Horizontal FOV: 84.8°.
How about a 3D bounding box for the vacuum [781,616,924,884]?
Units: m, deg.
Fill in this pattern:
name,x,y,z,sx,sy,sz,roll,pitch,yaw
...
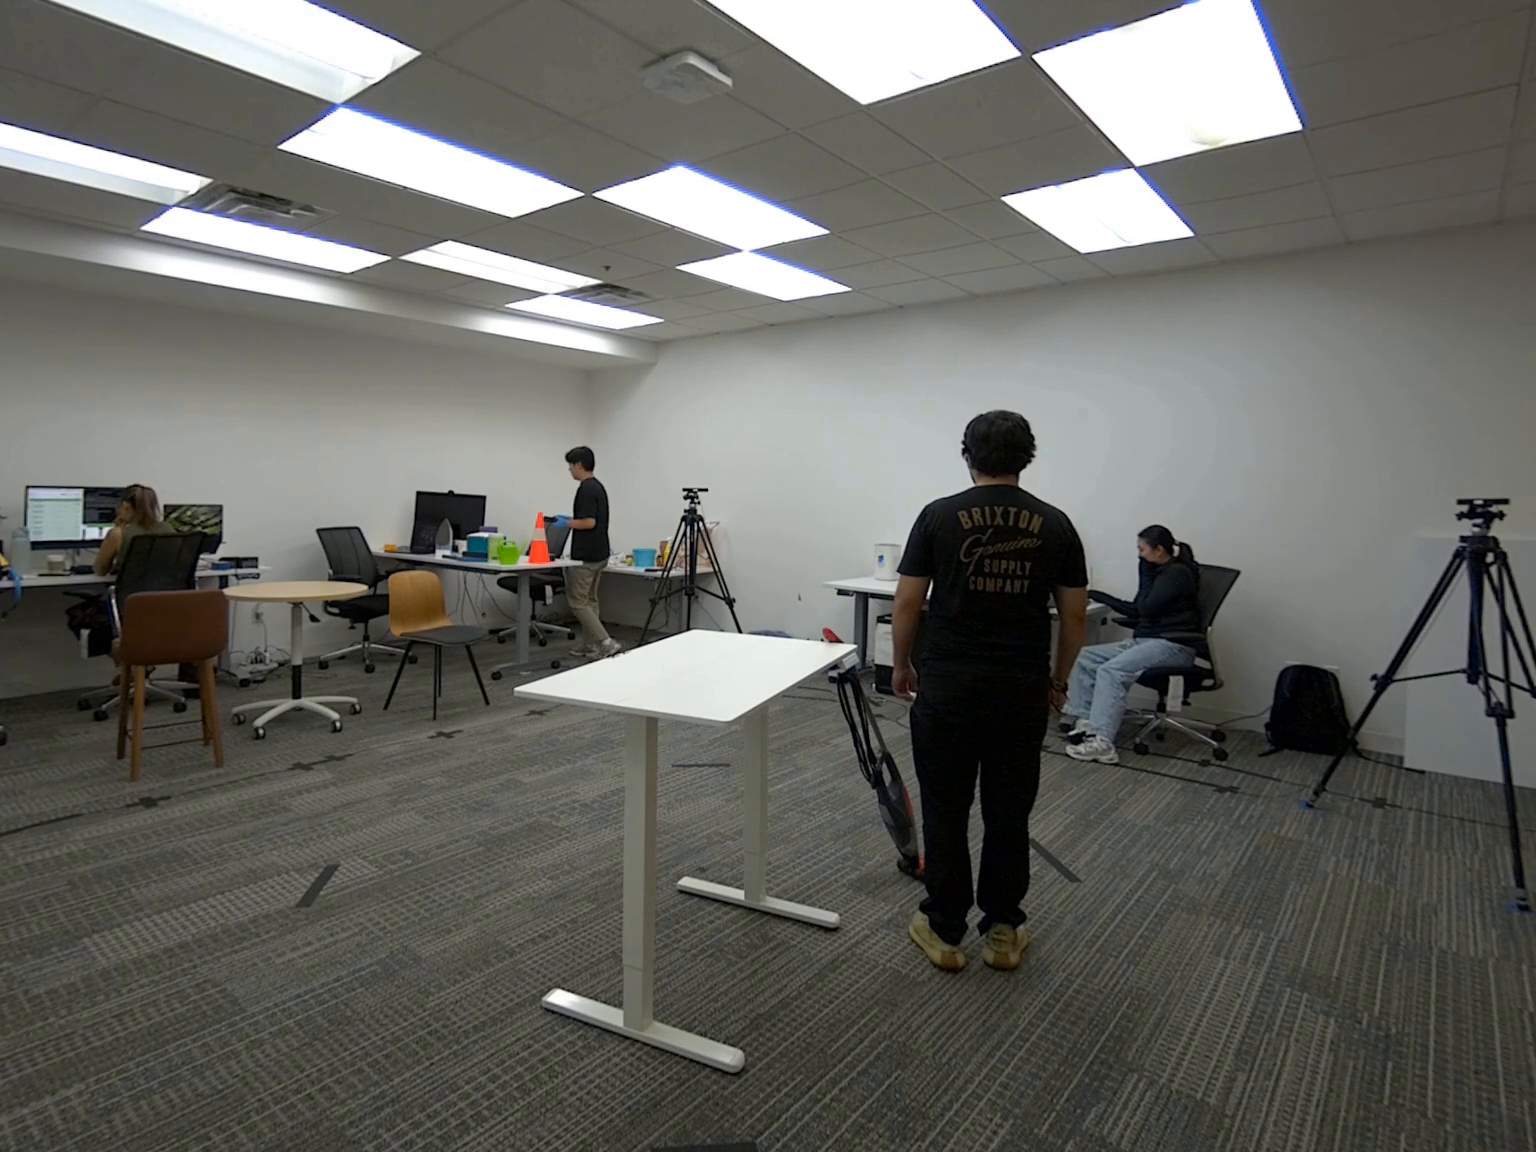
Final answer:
name,x,y,z,sx,sy,sz,roll,pitch,yaw
vacuum,0.369,0.625,2.959,0.260,1.024,0.143,-2,28,46
